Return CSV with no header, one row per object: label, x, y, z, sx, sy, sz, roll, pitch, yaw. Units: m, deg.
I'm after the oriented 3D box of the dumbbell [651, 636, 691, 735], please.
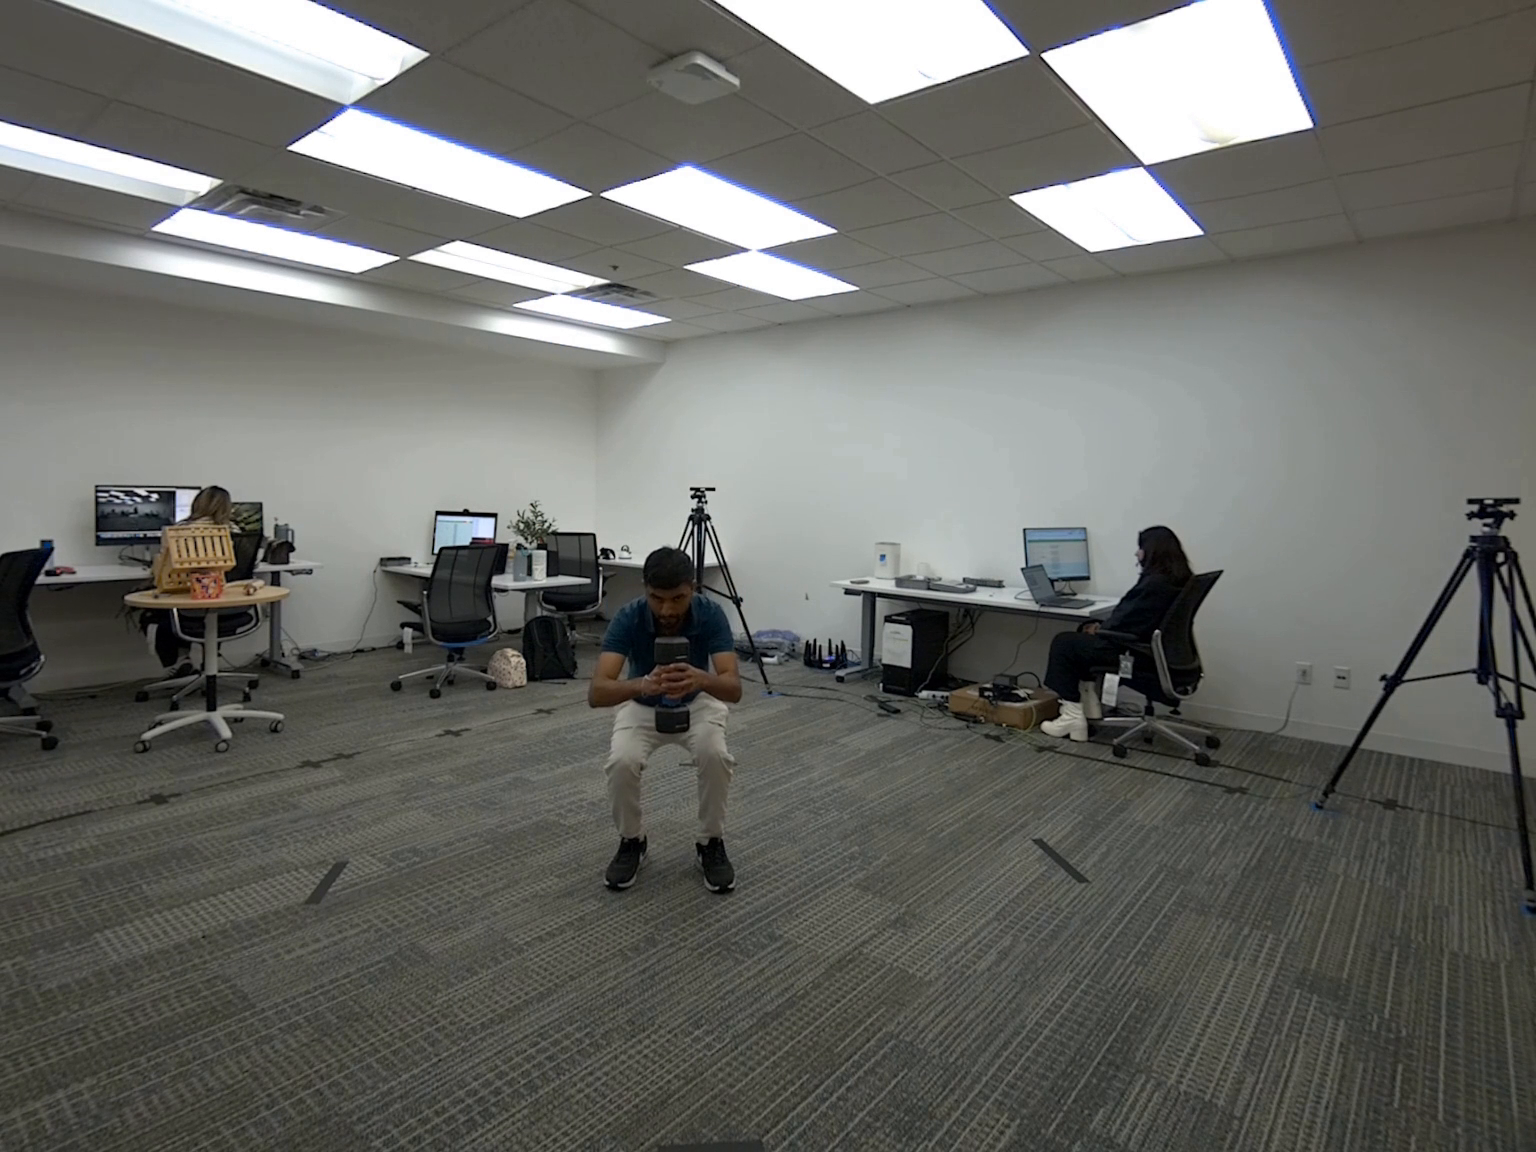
dumbbell,-0.312,0.334,2.677,0.107,0.294,0.124,0,-1,-10
